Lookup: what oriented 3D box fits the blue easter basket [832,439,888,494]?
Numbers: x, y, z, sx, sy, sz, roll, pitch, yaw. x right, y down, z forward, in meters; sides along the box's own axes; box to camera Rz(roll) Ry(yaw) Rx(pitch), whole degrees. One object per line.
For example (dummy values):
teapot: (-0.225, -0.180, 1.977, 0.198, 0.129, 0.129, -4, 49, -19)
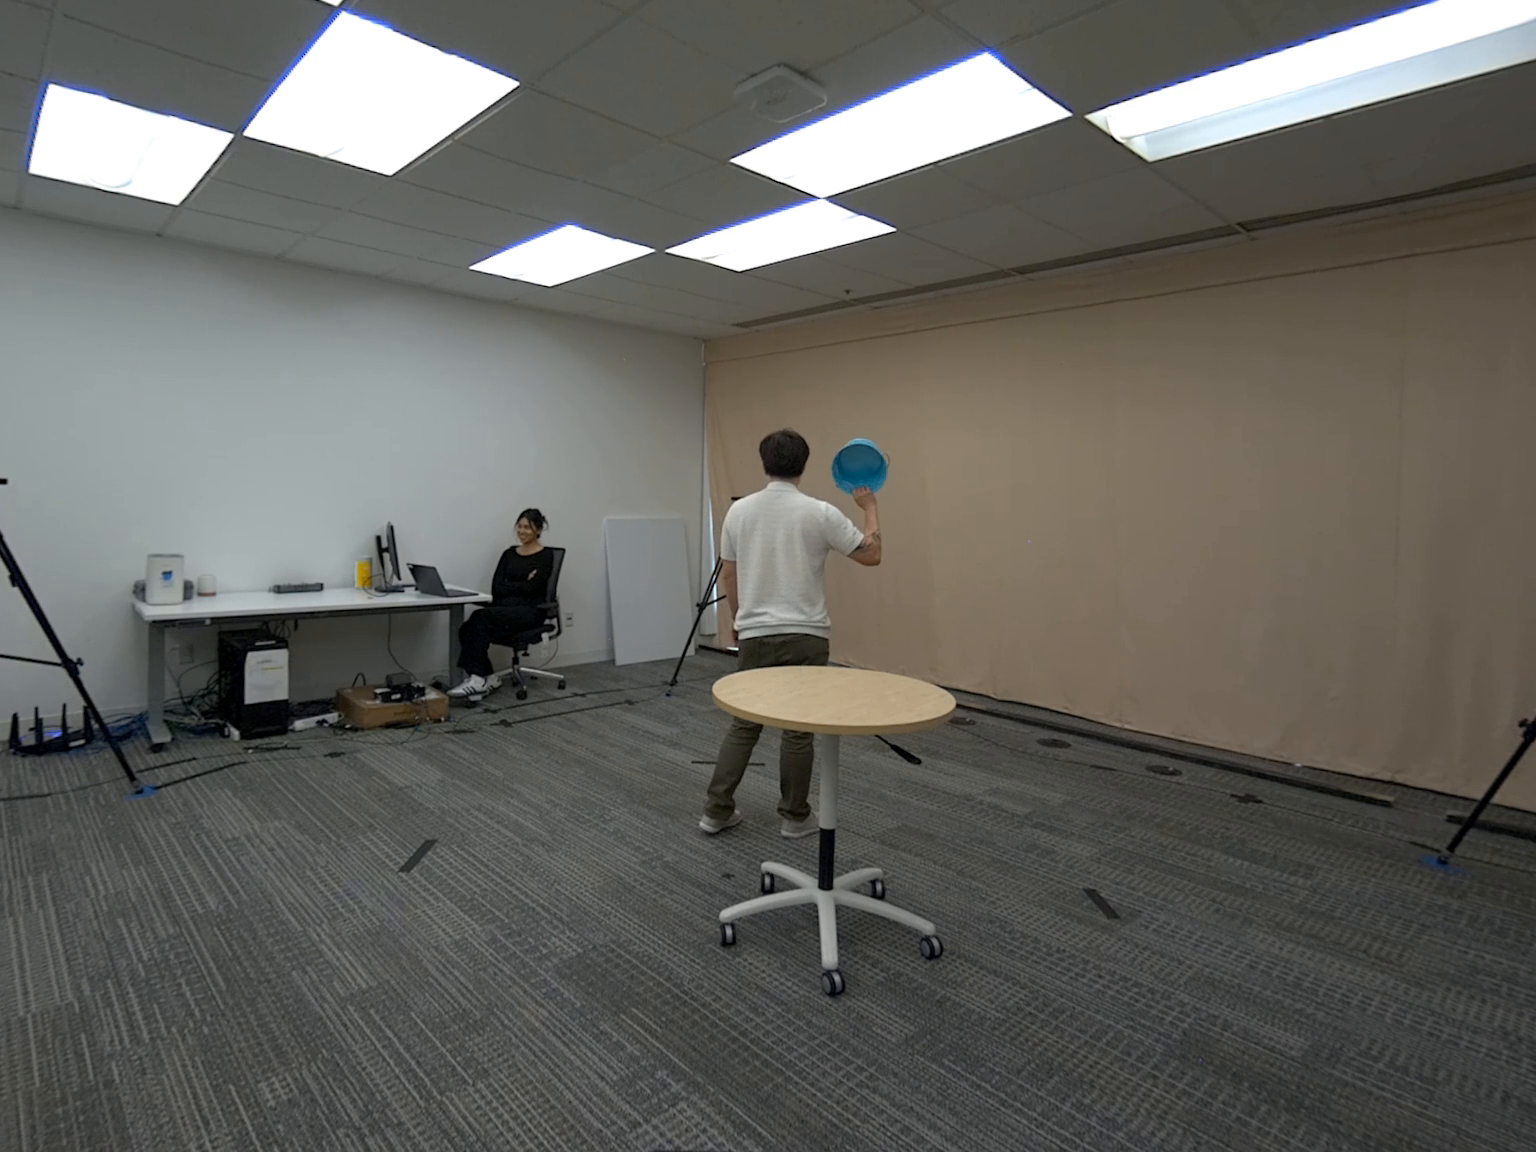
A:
blue easter basket: (0.370, -0.469, 3.565, 0.245, 0.239, 0.157, 2, 25, 9)
